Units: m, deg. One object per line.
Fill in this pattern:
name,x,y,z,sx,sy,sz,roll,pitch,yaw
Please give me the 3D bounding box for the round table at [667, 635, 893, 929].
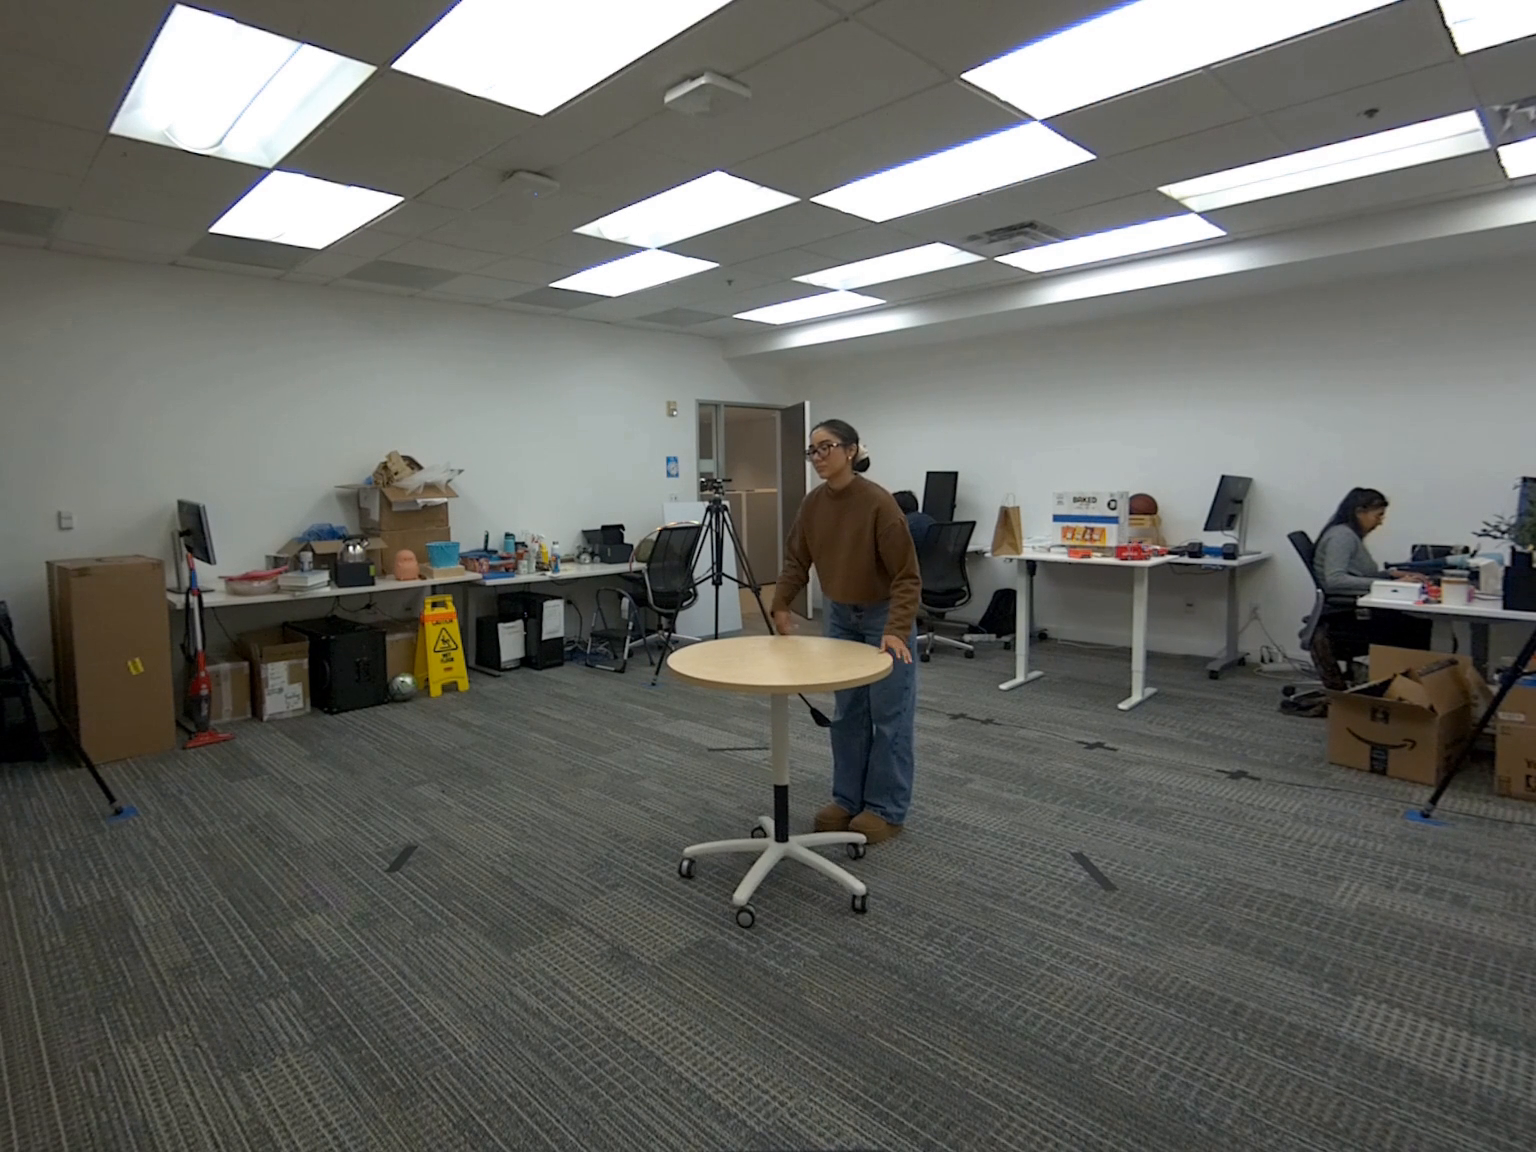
round table,0.039,0.670,2.953,0.763,0.790,0.768,-1,5,-2
